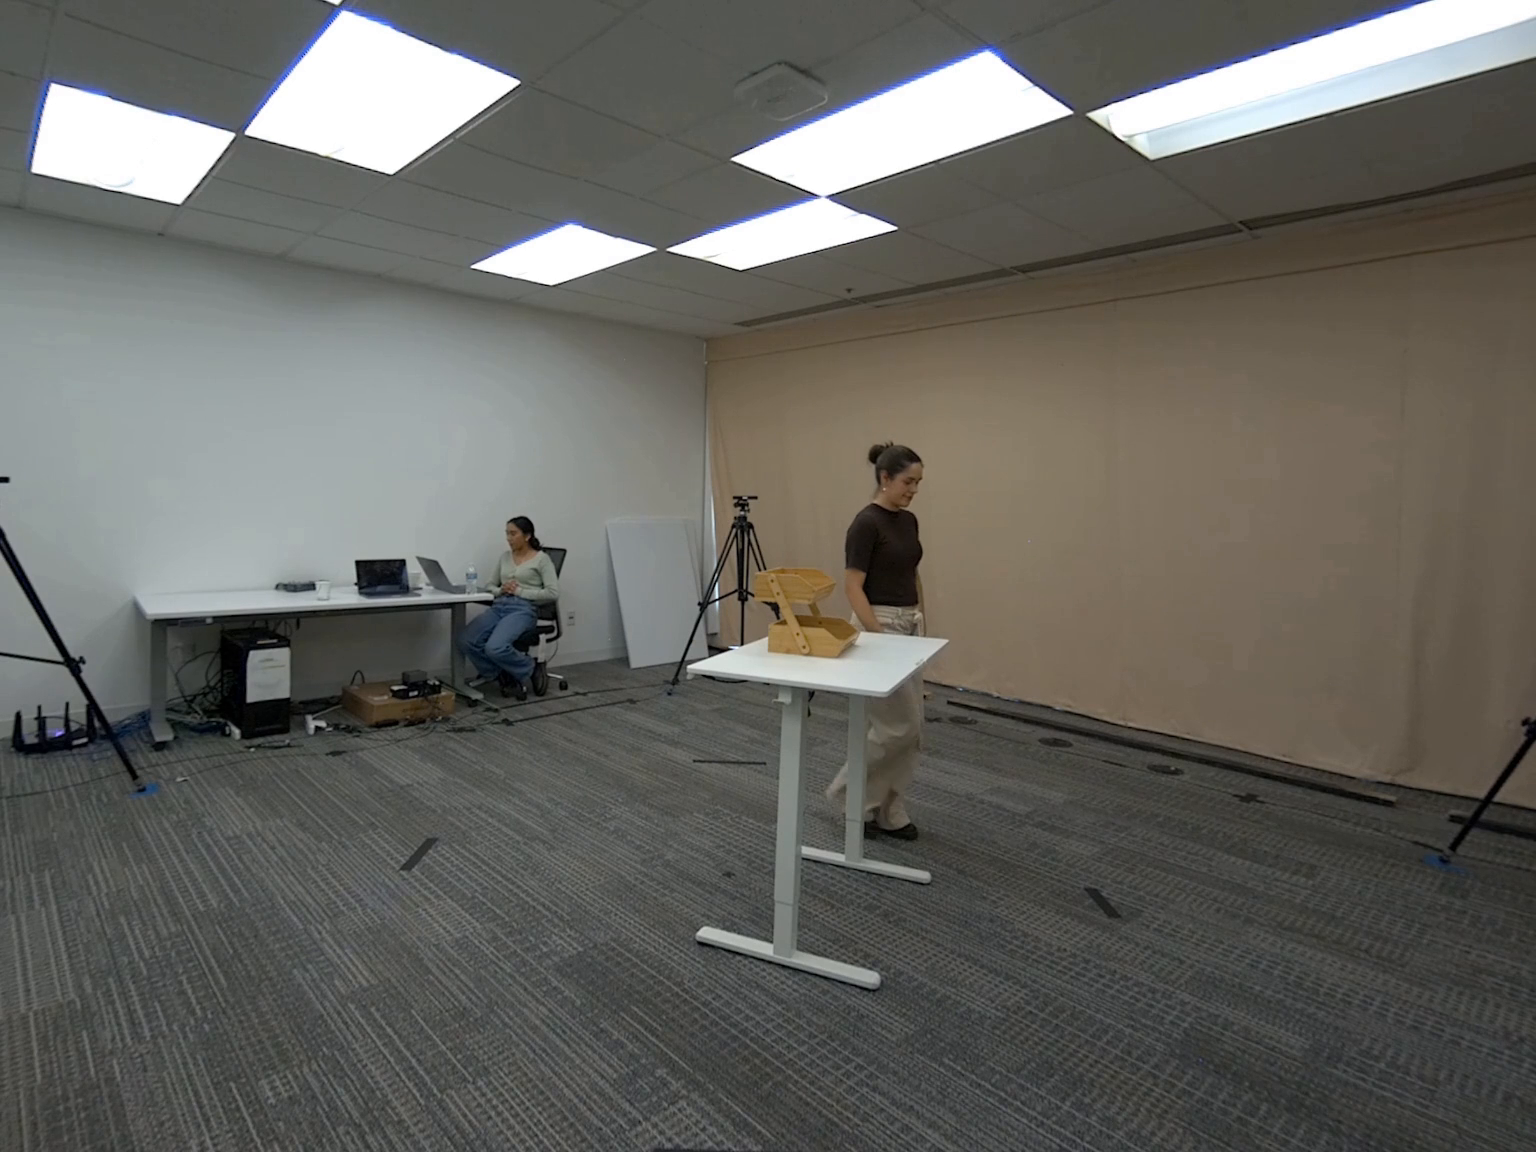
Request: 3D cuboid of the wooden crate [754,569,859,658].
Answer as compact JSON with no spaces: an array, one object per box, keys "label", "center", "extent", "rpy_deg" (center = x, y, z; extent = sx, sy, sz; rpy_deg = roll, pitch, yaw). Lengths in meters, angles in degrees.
[{"label":"wooden crate","center":[0.144,0.115,2.879],"extent":[0.306,0.272,0.321],"rpy_deg":[3,4,17]}]
